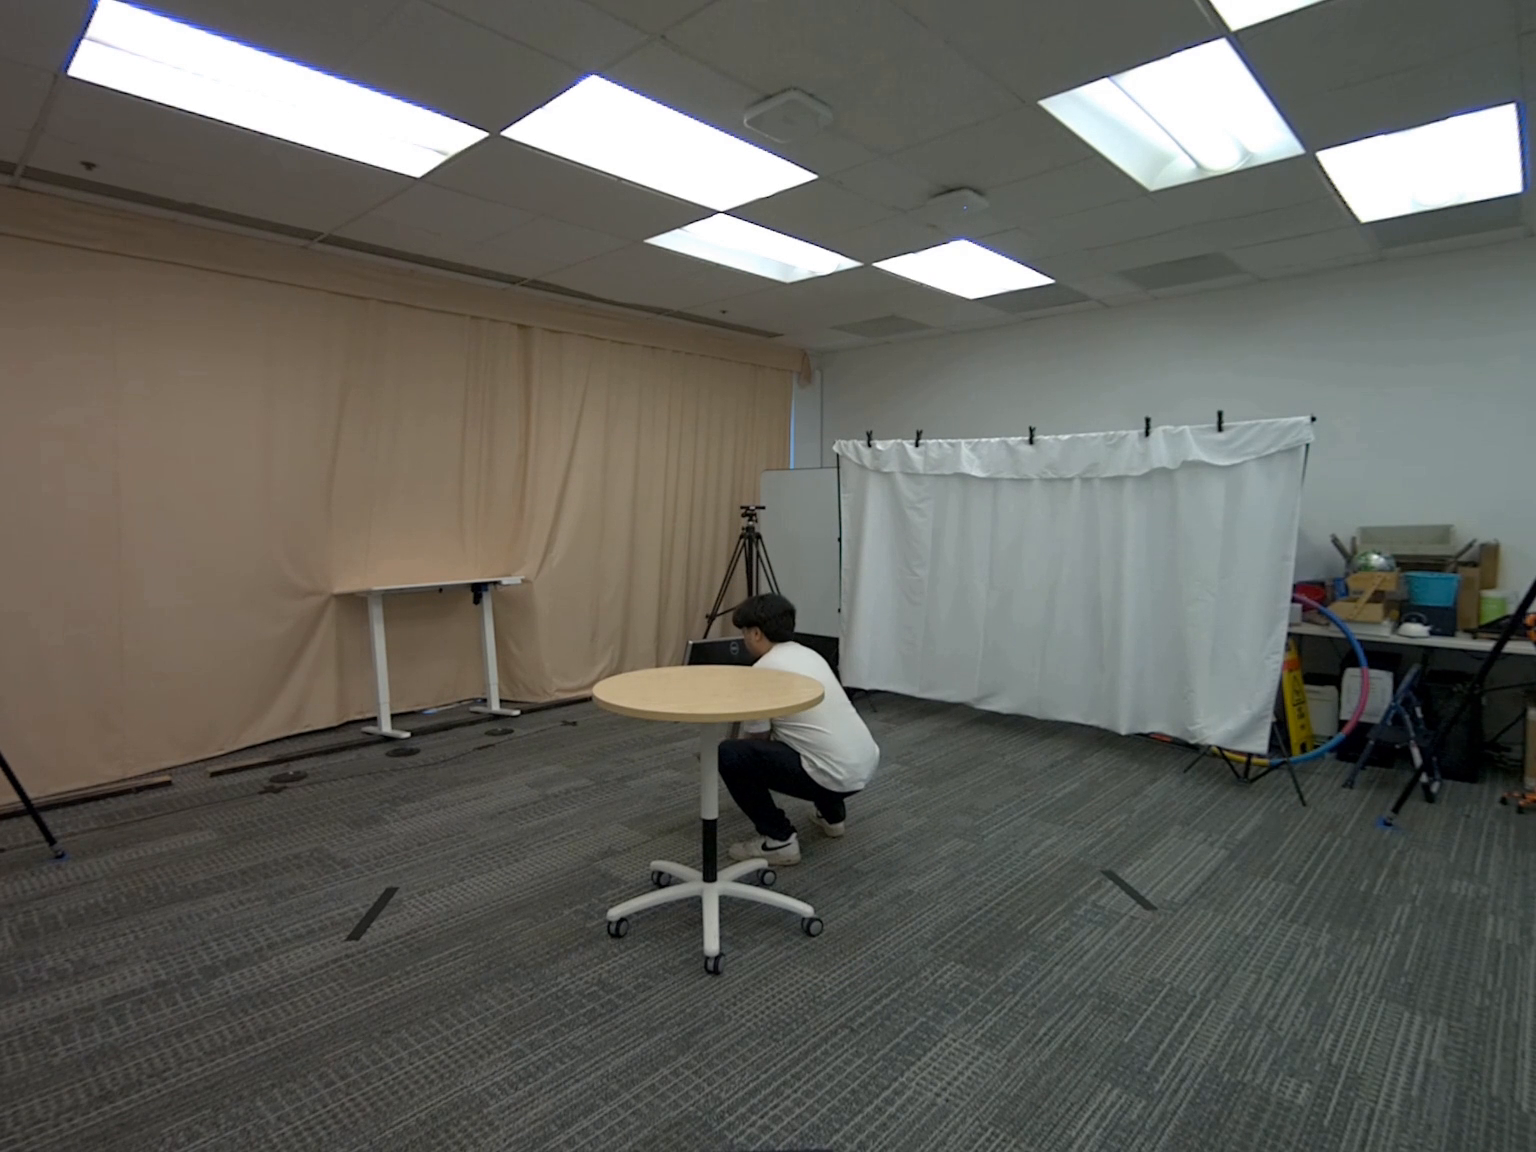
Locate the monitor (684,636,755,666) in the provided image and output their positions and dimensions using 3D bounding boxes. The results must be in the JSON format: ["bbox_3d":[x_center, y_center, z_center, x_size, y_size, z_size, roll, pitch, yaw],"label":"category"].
[{"bbox_3d":[-0.167,0.548,3.731,0.217,0.552,0.548,12,7,36],"label":"monitor"}]
